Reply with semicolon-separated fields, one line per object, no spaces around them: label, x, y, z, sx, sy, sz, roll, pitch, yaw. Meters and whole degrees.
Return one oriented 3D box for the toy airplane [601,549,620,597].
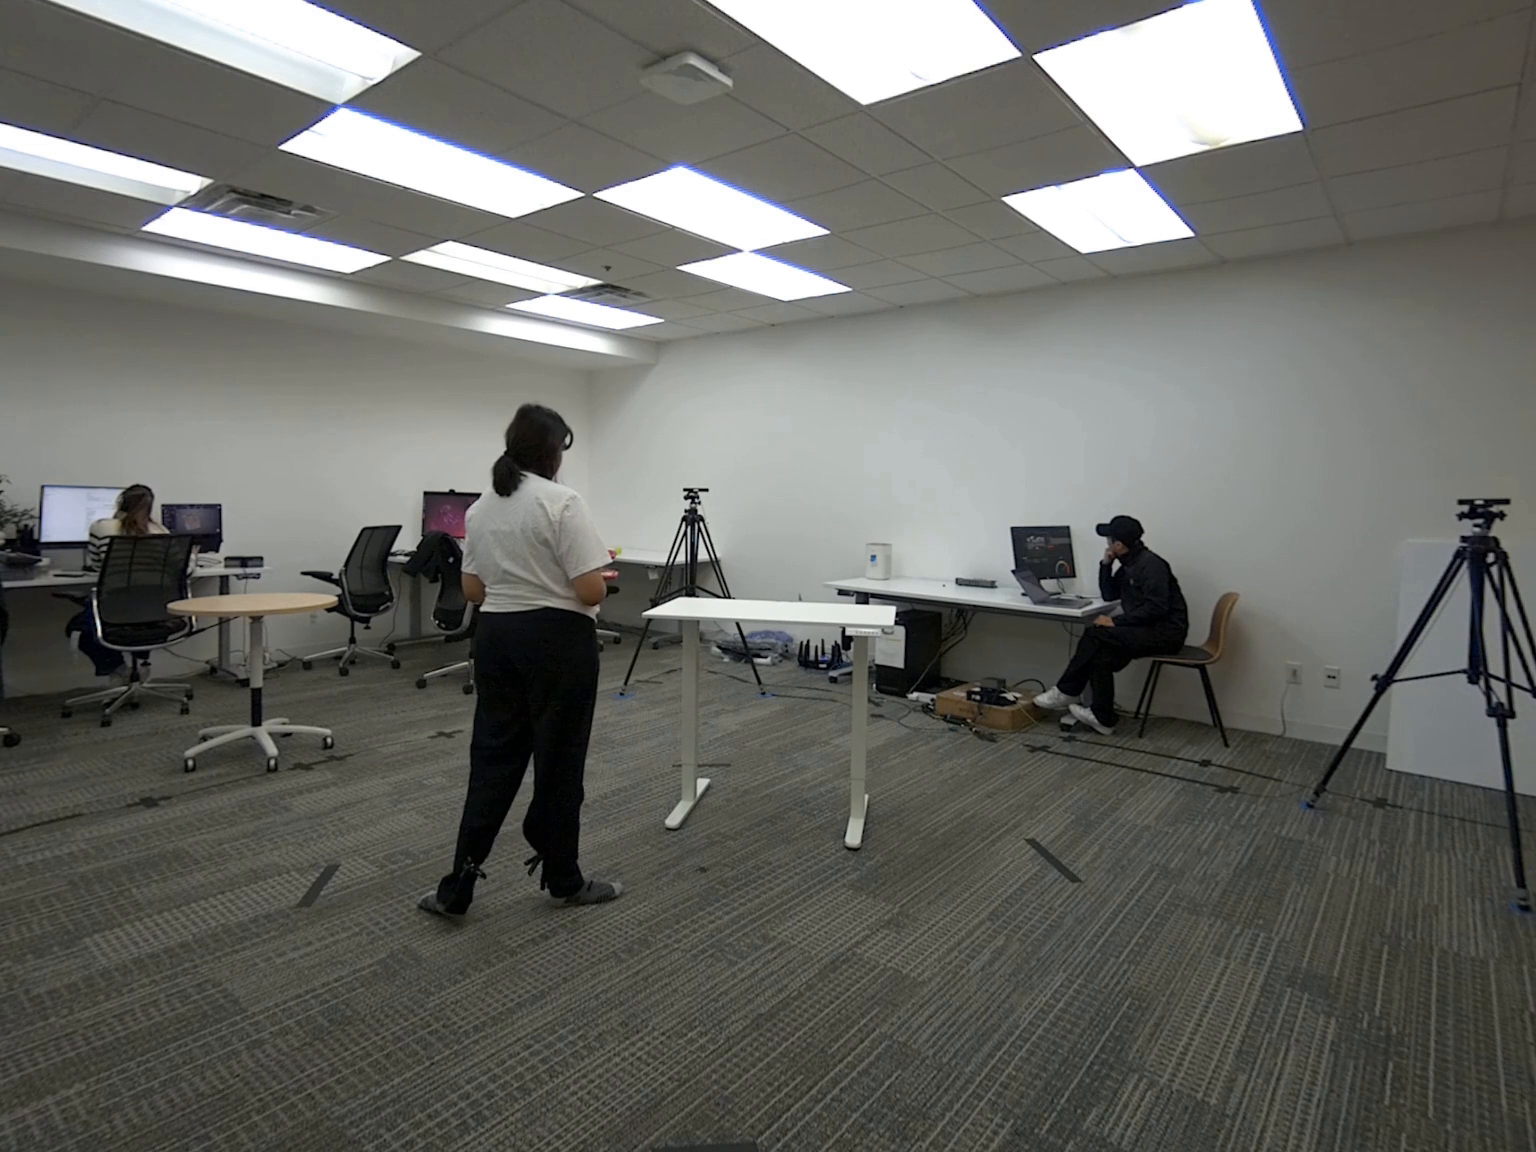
toy airplane;-0.671;-0.015;3.074;0.245;0.156;0.266;-2;7;-25
